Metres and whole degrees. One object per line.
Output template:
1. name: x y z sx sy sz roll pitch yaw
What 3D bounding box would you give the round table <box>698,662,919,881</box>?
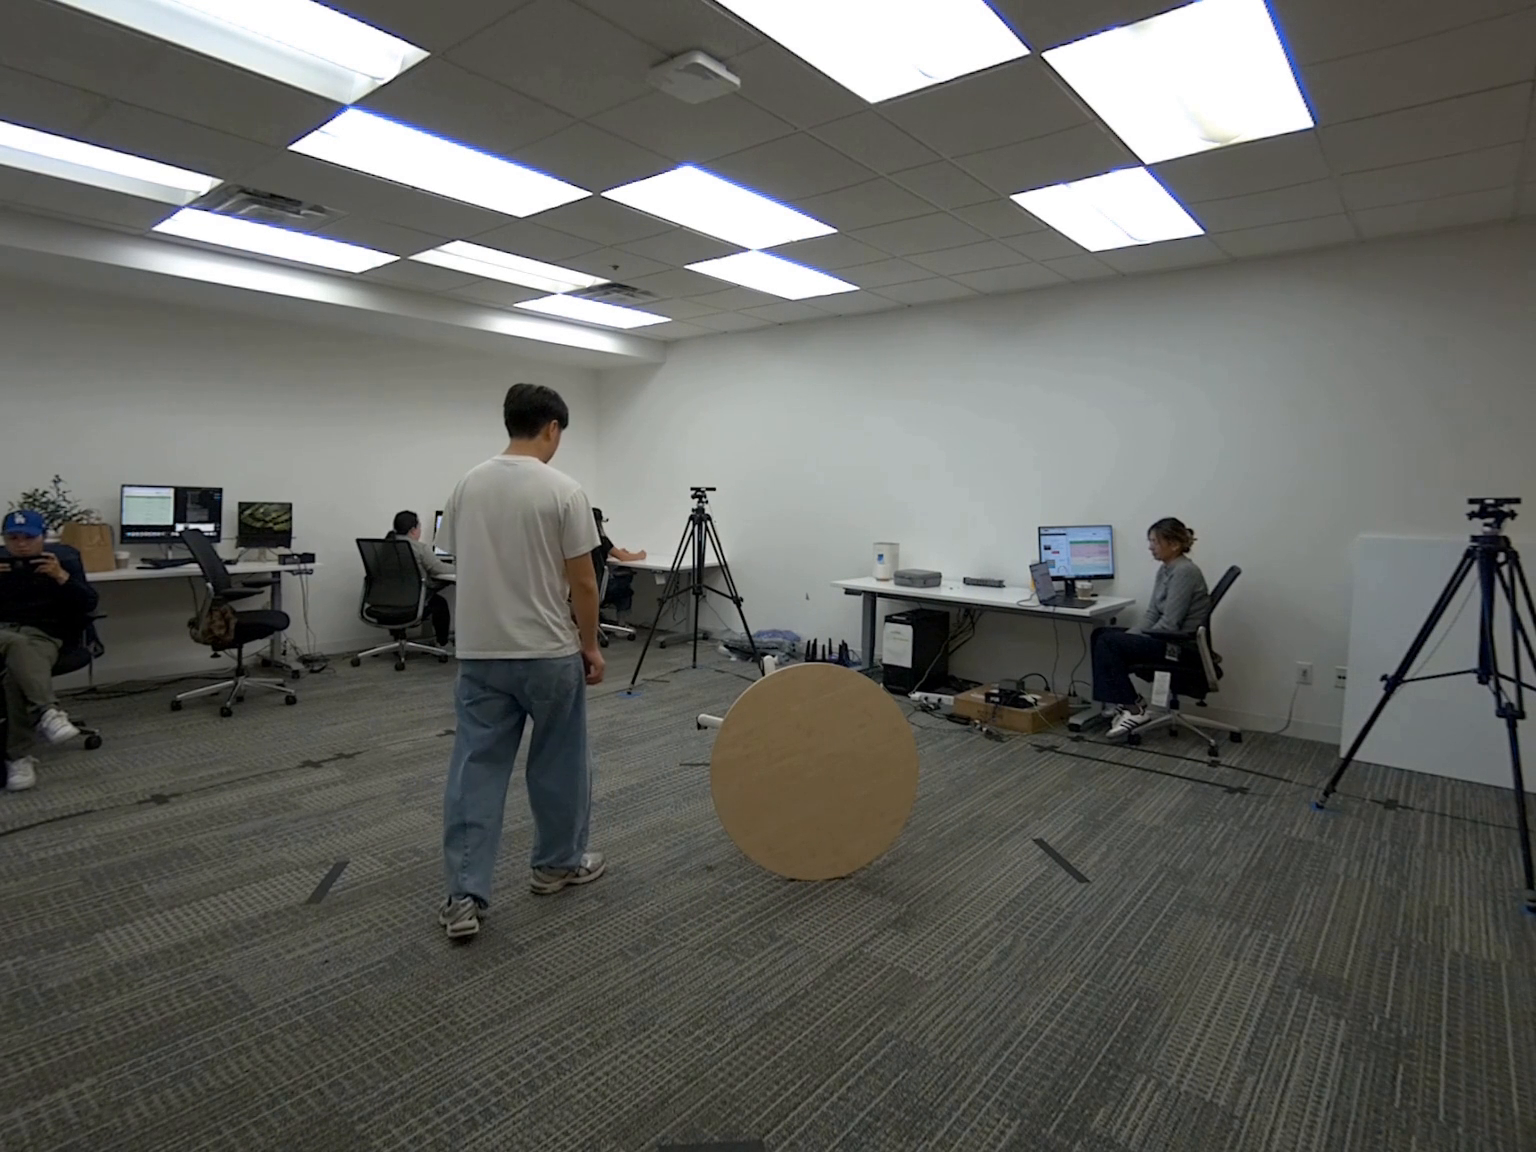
1. round table: 0.078 0.694 3.444 0.777 0.787 0.794 0 -1 -11
